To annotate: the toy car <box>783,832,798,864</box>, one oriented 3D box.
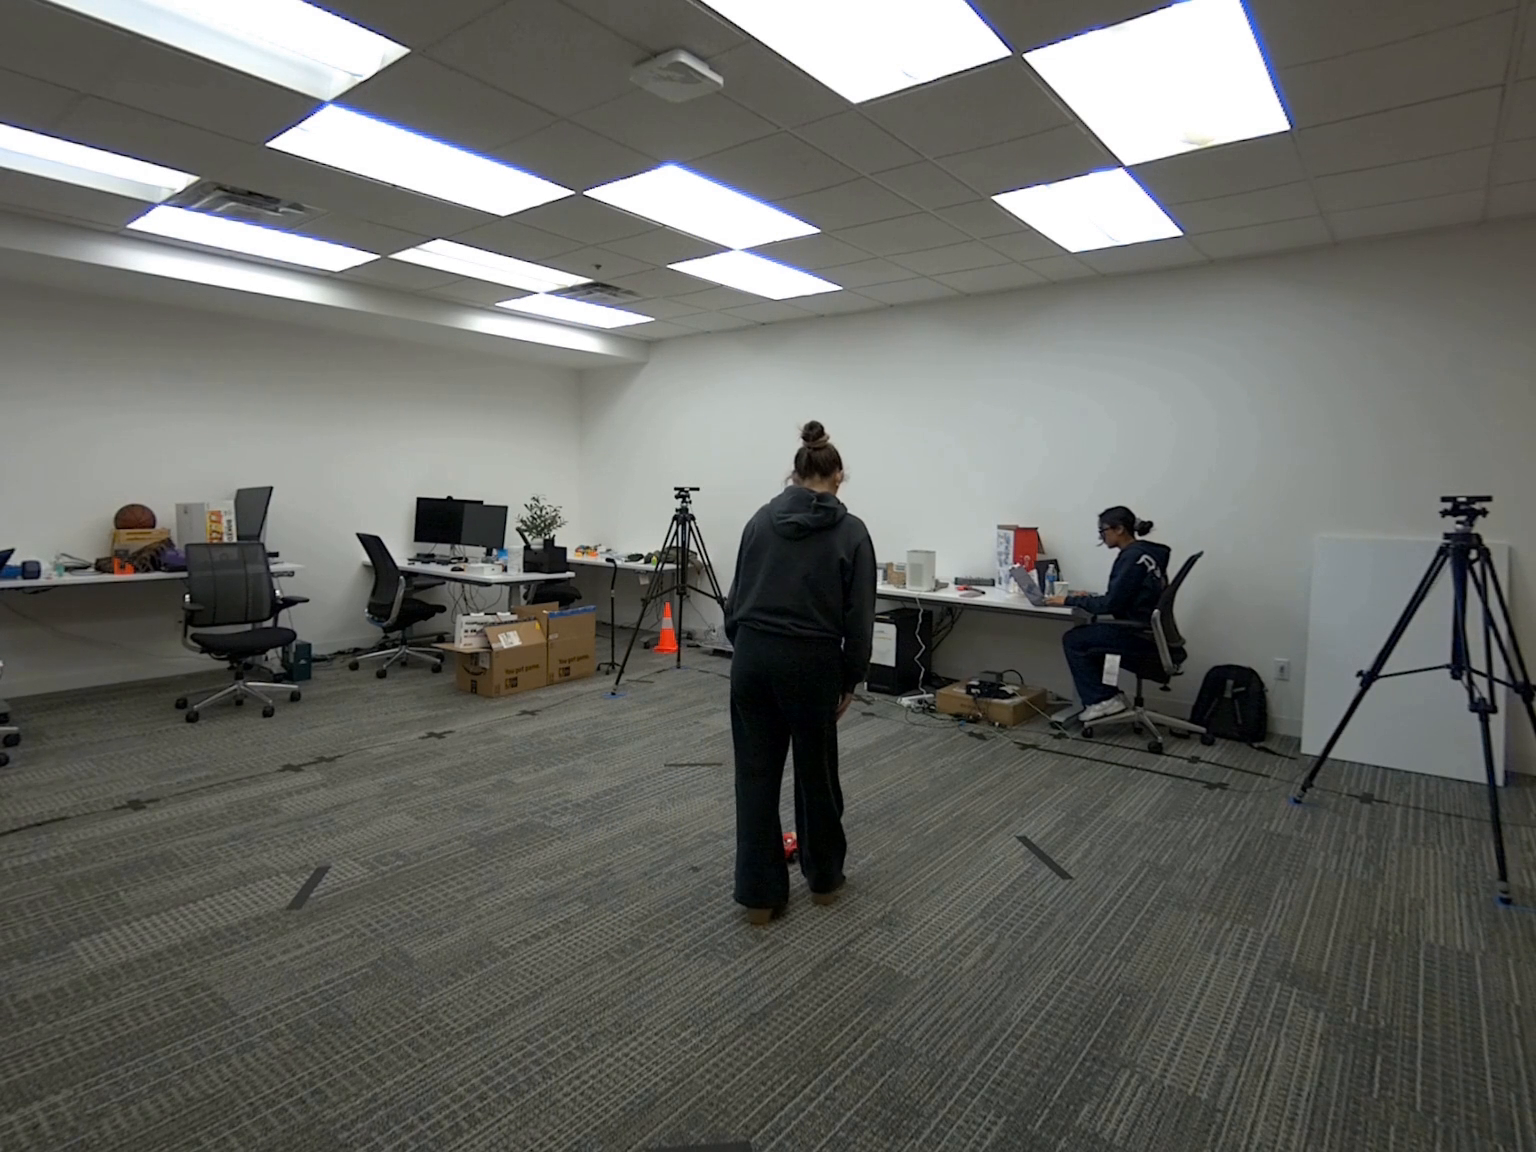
[{"bbox_3d":[0.110,1.022,3.251,0.245,0.083,0.135,10,-3,-39],"label":"toy car"}]
